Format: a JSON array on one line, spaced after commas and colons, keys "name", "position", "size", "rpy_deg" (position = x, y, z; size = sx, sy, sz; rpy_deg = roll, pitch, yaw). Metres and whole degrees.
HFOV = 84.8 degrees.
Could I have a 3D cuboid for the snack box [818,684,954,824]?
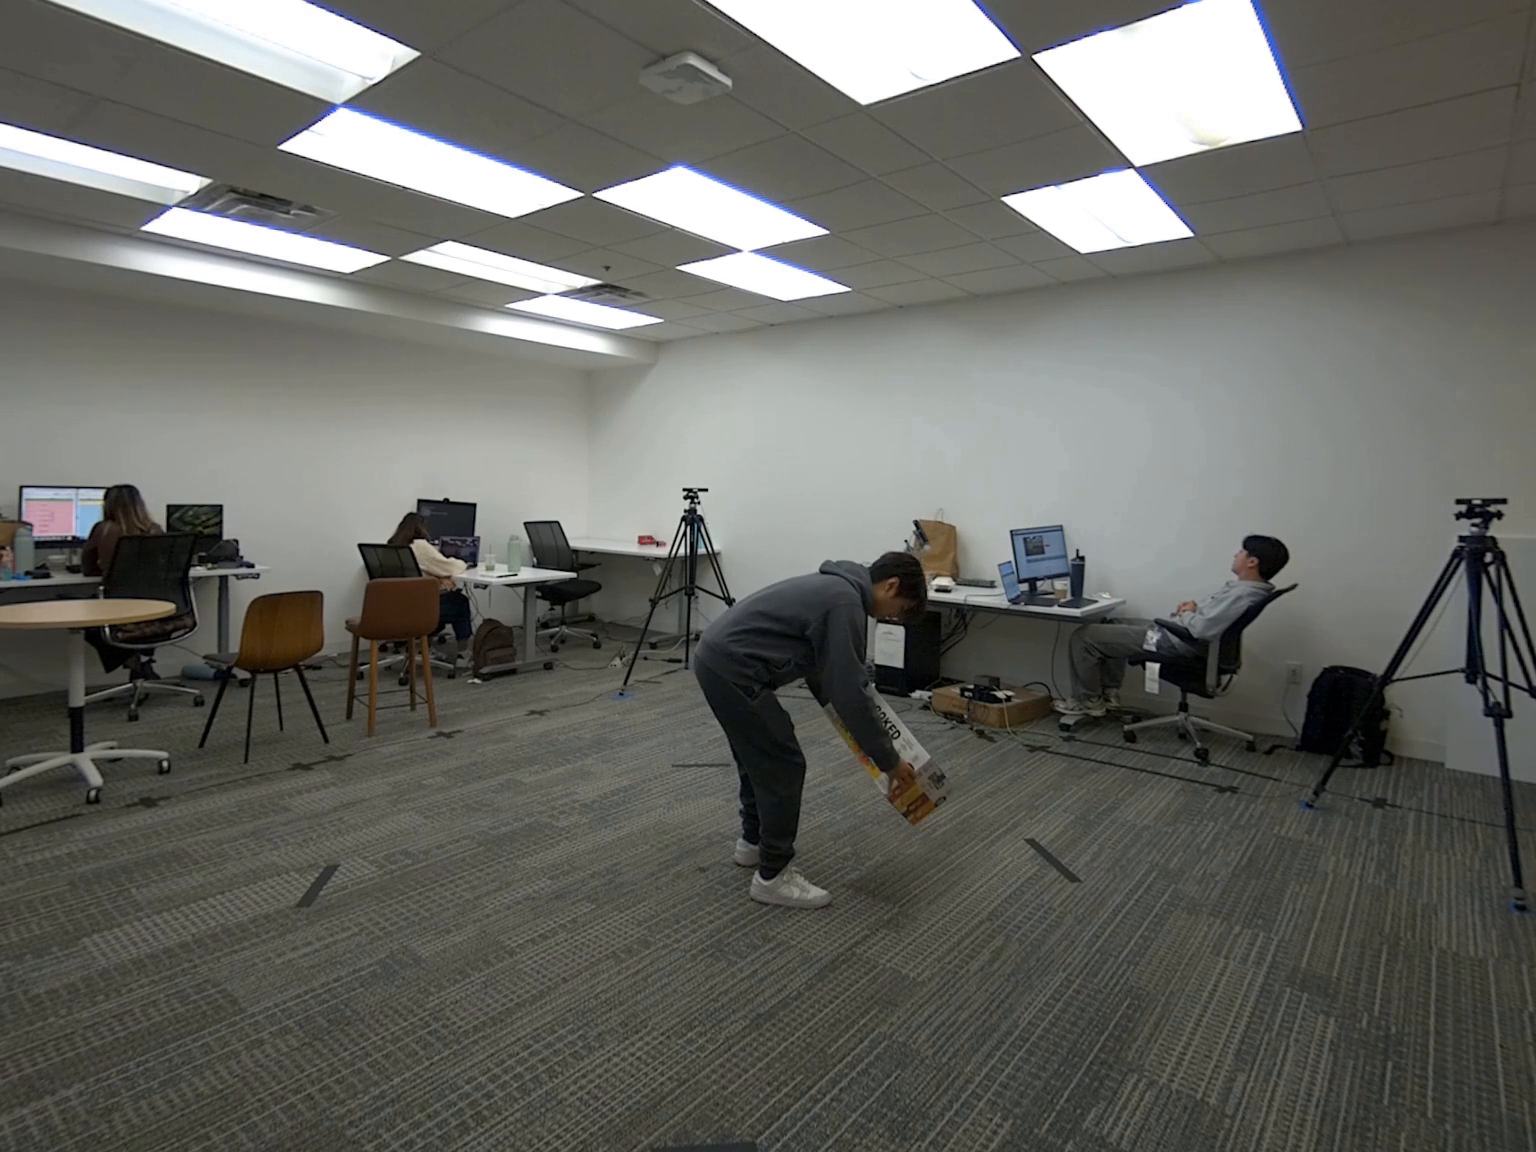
[{"name": "snack box", "position": [0.429, 0.630, 3.091], "size": [0.422, 0.206, 0.326], "rpy_deg": [52, 0, 43]}]
